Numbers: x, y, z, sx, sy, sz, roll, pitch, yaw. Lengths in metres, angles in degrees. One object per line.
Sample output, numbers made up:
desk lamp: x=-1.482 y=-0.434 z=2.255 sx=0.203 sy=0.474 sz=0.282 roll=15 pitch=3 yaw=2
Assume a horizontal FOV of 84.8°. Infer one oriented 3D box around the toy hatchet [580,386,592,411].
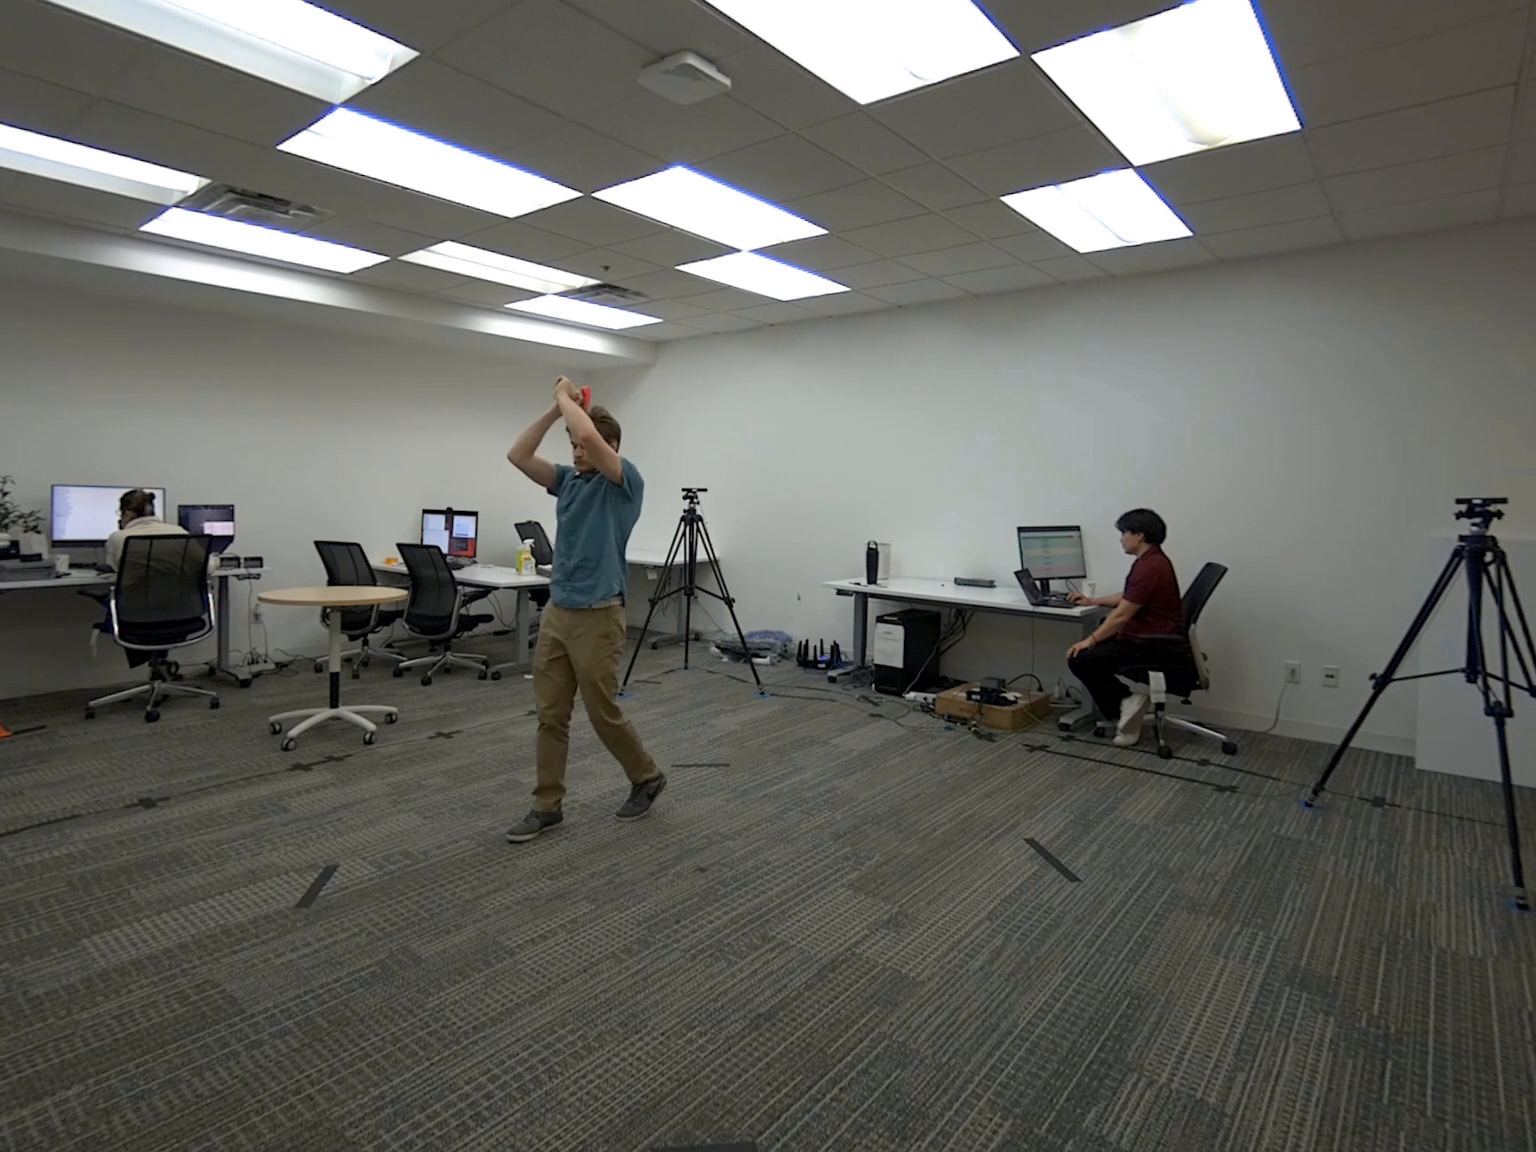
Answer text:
toy hatchet: x=-0.791 y=-0.761 z=3.473 sx=0.030 sy=0.132 sz=0.263 roll=17 pitch=-13 yaw=13
